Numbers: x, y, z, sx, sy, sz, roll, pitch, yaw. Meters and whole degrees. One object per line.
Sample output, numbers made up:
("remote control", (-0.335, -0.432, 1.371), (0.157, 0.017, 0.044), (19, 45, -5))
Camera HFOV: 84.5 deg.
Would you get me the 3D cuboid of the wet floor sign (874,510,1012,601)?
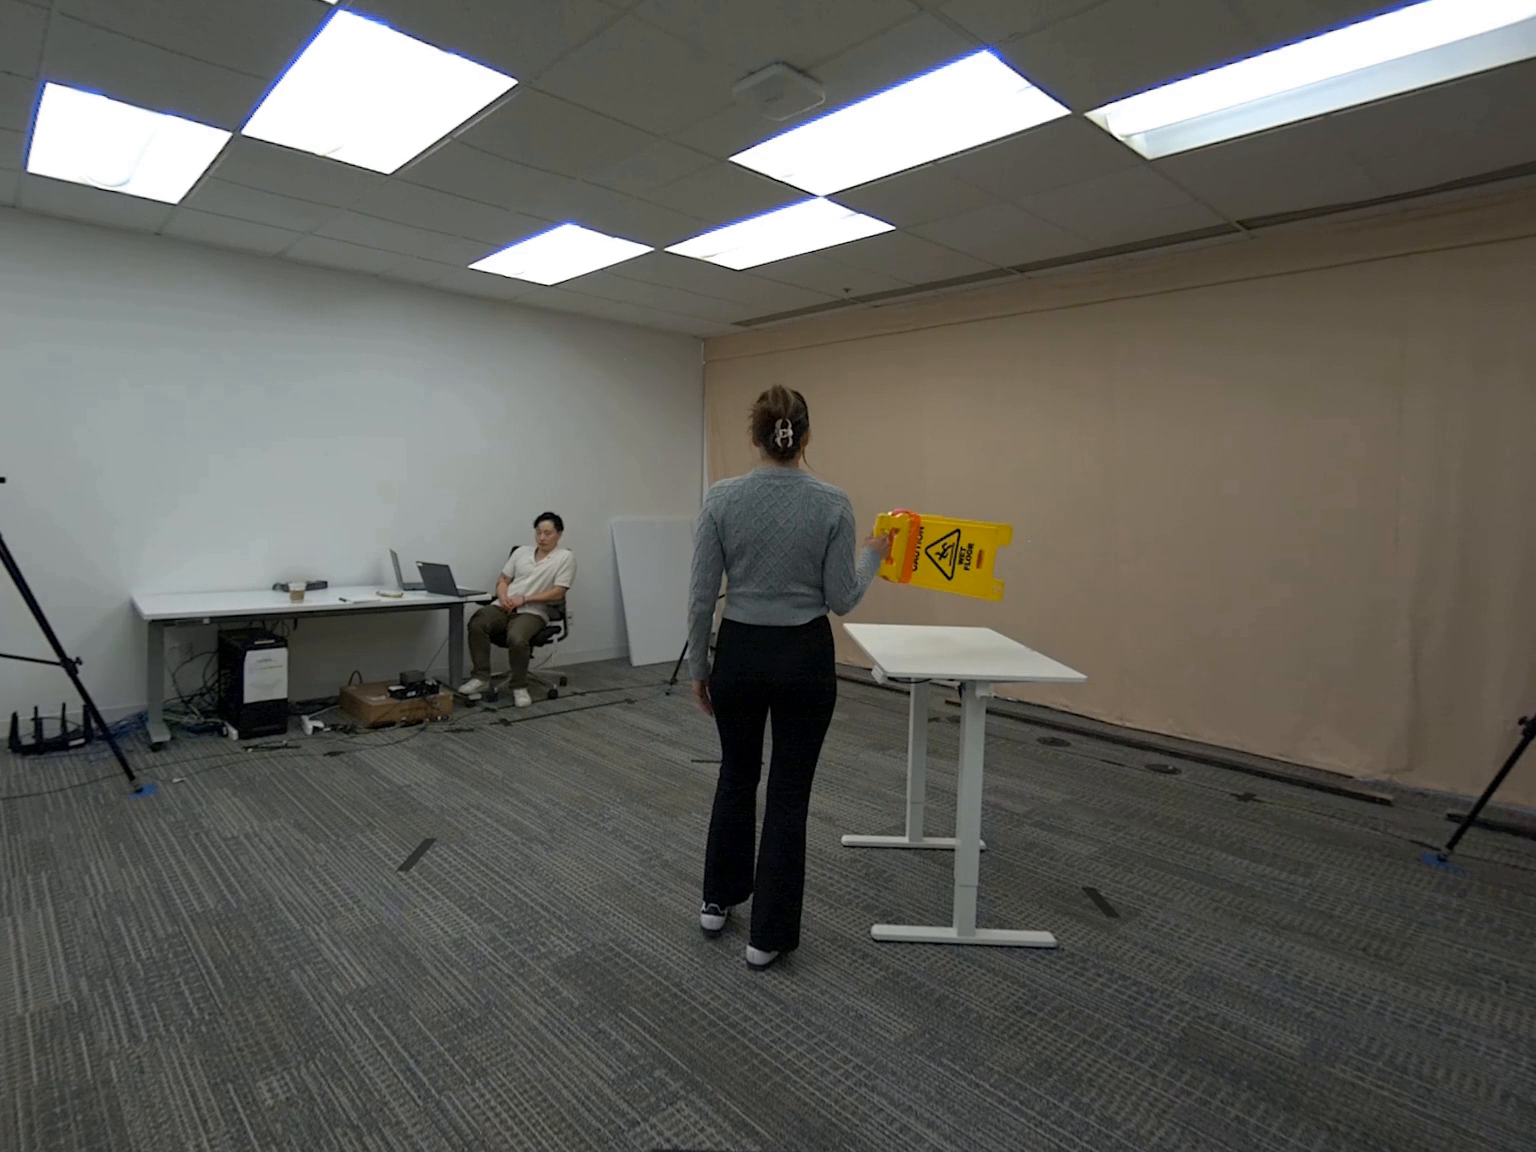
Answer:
("wet floor sign", (0.540, -0.083, 2.912), (0.298, 0.282, 0.629), (12, 4, 42))
